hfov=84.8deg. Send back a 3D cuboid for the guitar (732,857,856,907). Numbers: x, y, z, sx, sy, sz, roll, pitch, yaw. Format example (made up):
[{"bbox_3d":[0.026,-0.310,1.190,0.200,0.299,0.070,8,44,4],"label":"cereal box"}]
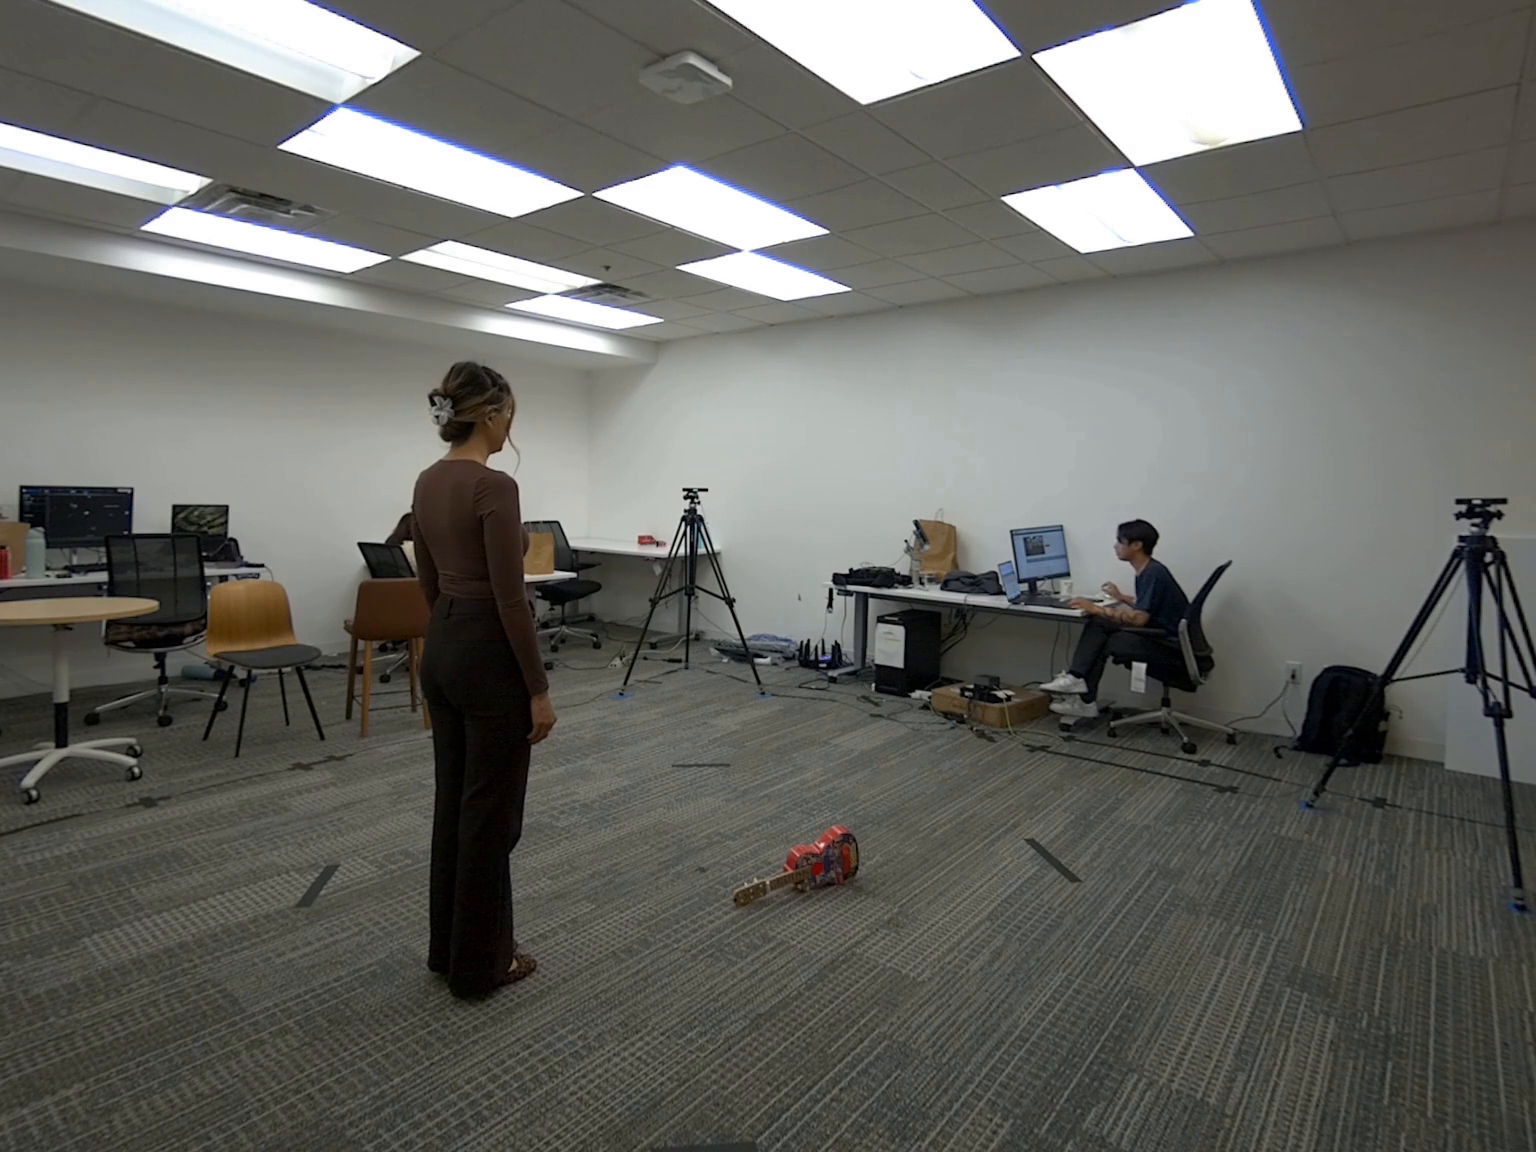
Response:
[{"bbox_3d":[0.091,0.996,2.948,0.486,0.192,0.073,-2,7,-25],"label":"guitar"}]
